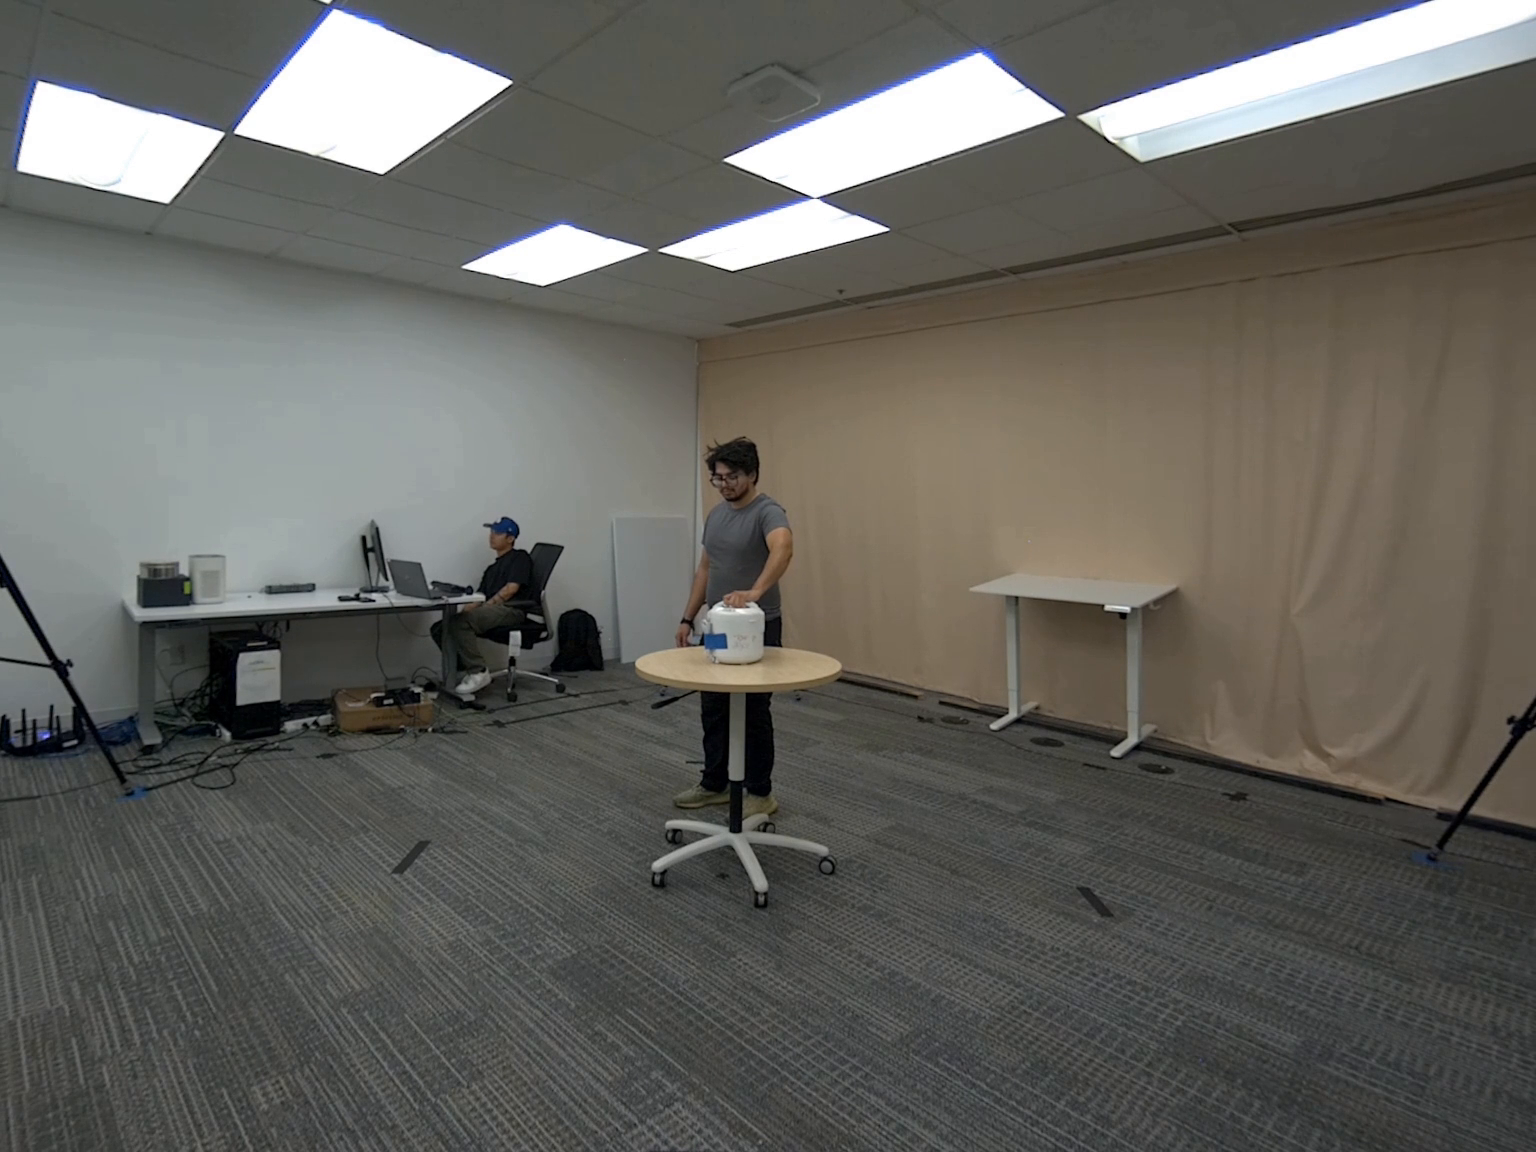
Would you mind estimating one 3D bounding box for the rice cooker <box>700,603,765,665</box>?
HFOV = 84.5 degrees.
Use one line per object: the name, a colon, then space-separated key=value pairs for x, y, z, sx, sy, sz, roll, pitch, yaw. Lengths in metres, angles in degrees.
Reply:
rice cooker: x=-0.132 y=0.204 z=3.171 sx=0.223 sy=0.232 sz=0.215 roll=2 pitch=4 yaw=14
